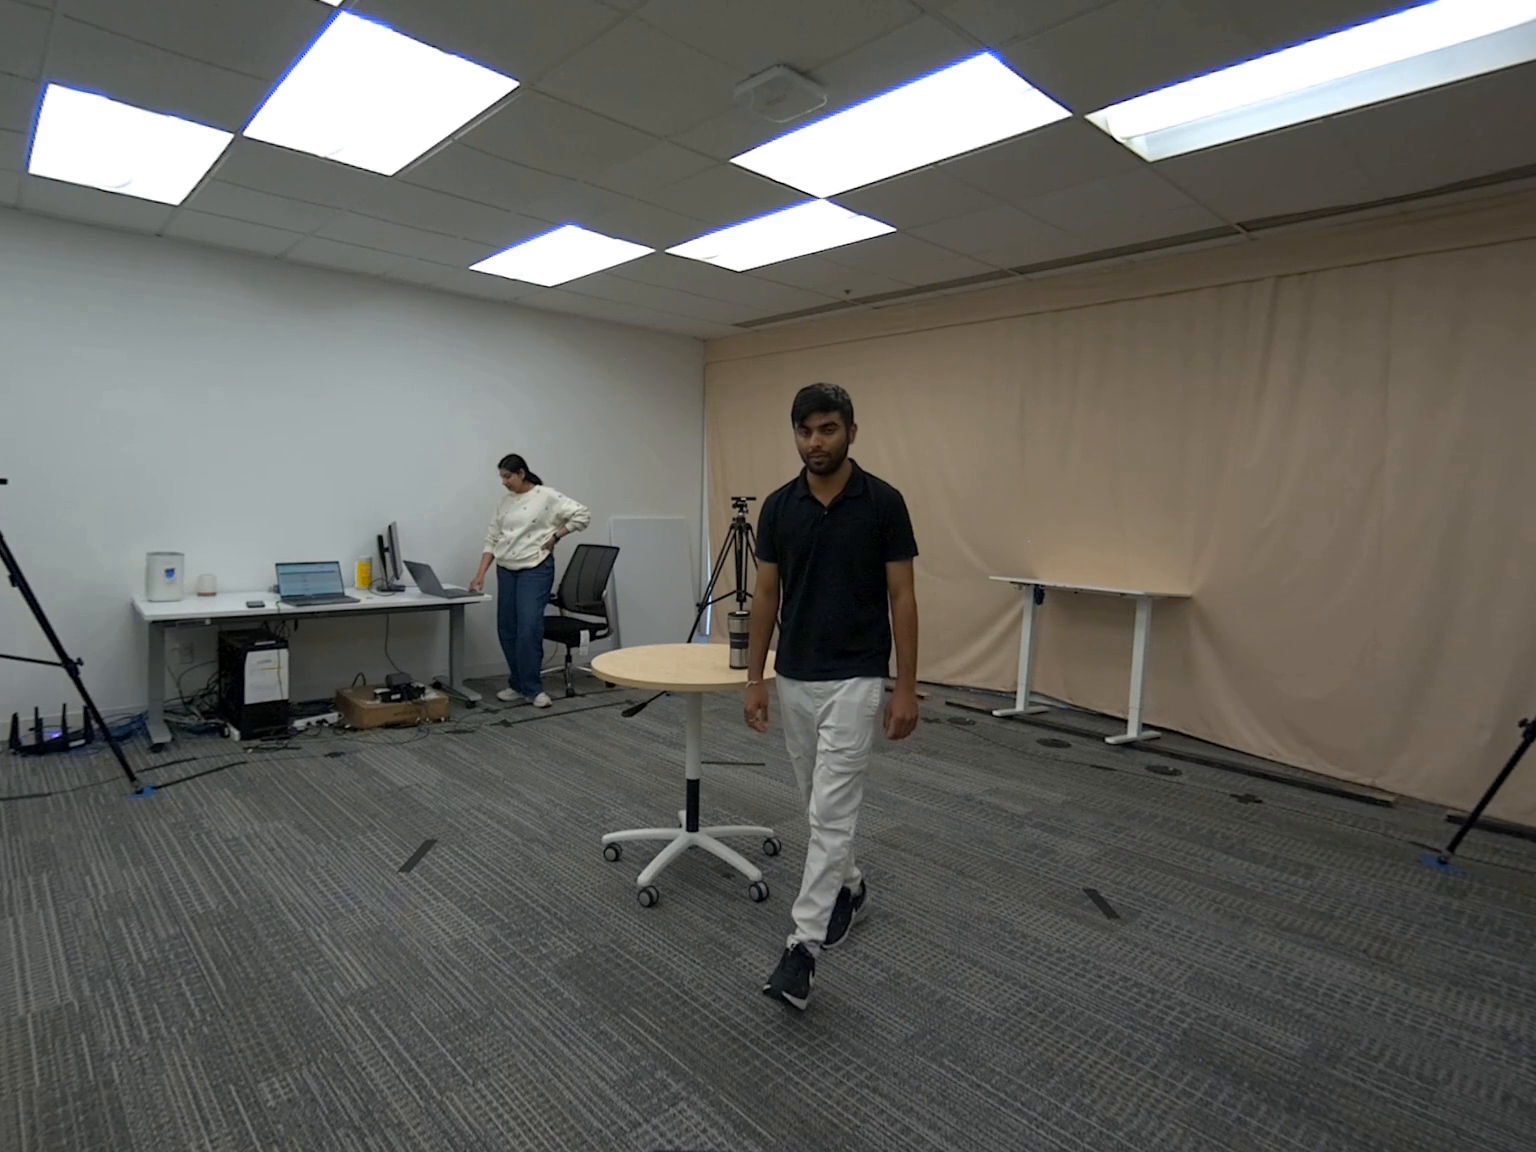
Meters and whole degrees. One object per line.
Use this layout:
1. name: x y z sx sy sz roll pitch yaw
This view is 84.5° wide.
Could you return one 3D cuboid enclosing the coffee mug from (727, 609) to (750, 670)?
1. coffee mug: -0.089 0.228 3.028 0.119 0.203 0.090 -4 2 -36
